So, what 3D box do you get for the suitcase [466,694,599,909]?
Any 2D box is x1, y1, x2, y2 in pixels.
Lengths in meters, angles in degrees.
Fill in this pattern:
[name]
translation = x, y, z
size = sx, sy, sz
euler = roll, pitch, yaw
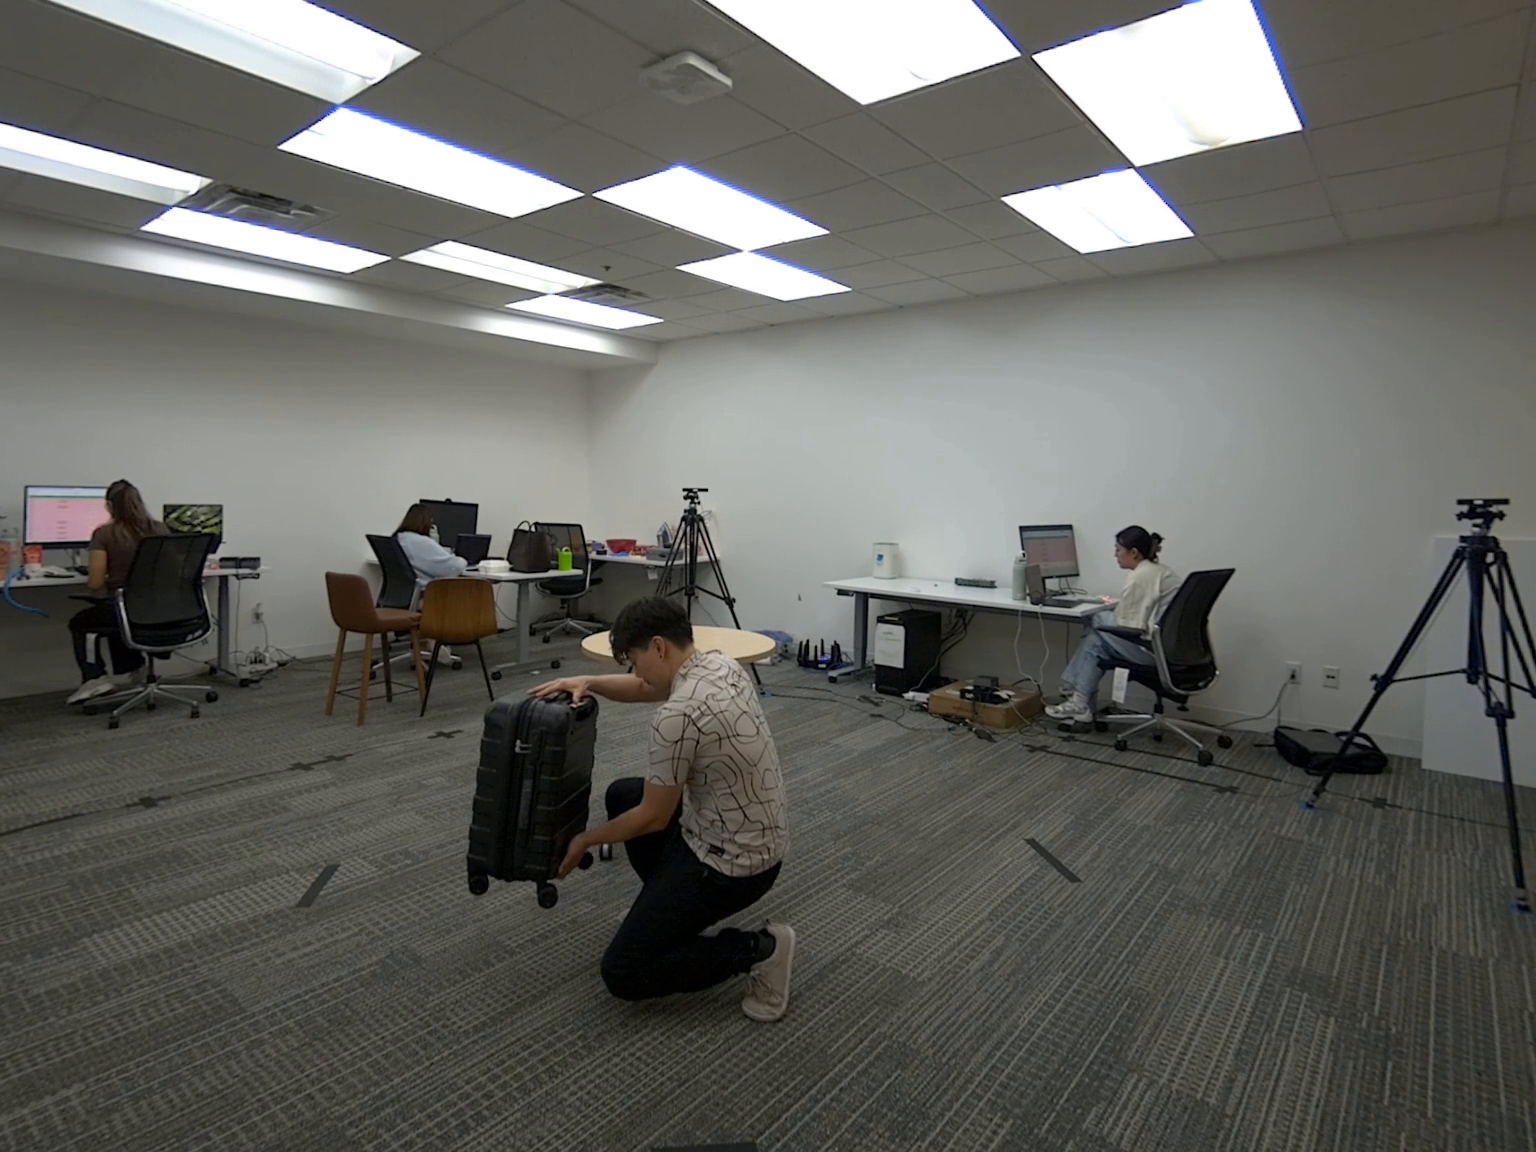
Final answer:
[suitcase]
translation = -0.677, 0.601, 2.464
size = 0.251, 0.549, 0.371
euler = 5, 1, 9
